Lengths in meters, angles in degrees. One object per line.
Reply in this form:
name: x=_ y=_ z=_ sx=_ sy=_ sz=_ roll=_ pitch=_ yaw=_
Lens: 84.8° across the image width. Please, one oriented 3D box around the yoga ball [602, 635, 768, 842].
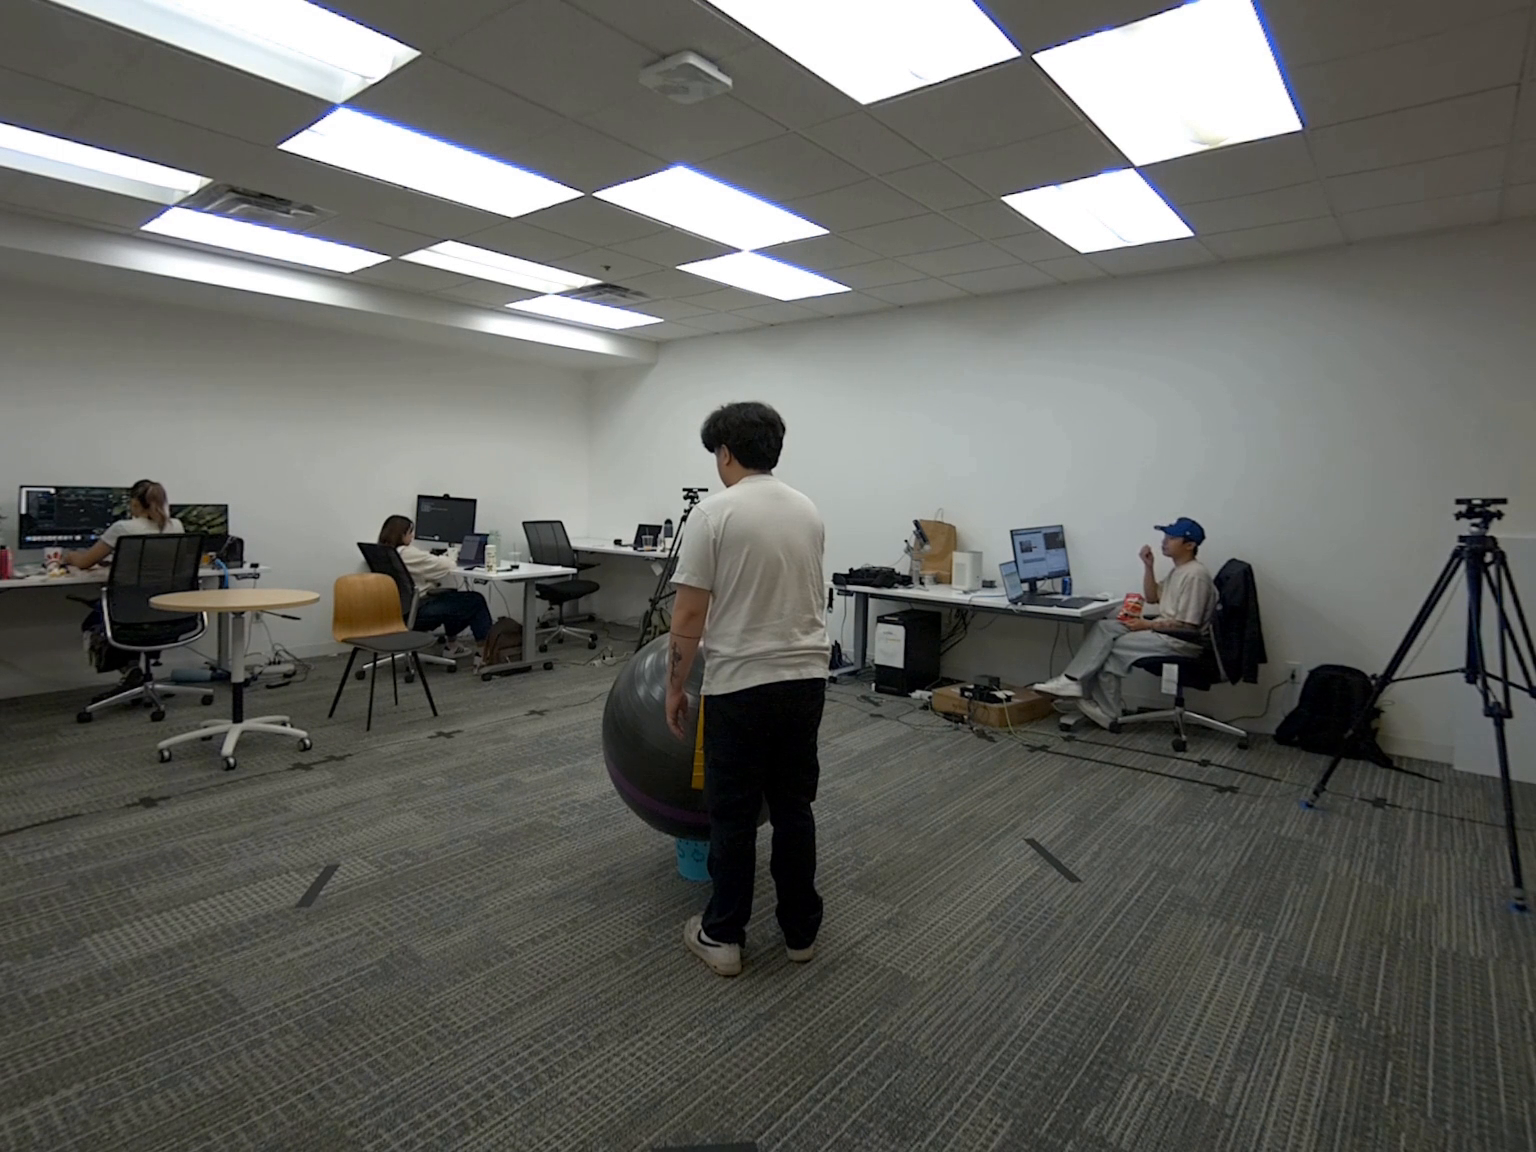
yoga ball: x=-0.229 y=0.563 z=3.092 sx=0.757 sy=0.756 sz=0.761 roll=1 pitch=4 yaw=-2
